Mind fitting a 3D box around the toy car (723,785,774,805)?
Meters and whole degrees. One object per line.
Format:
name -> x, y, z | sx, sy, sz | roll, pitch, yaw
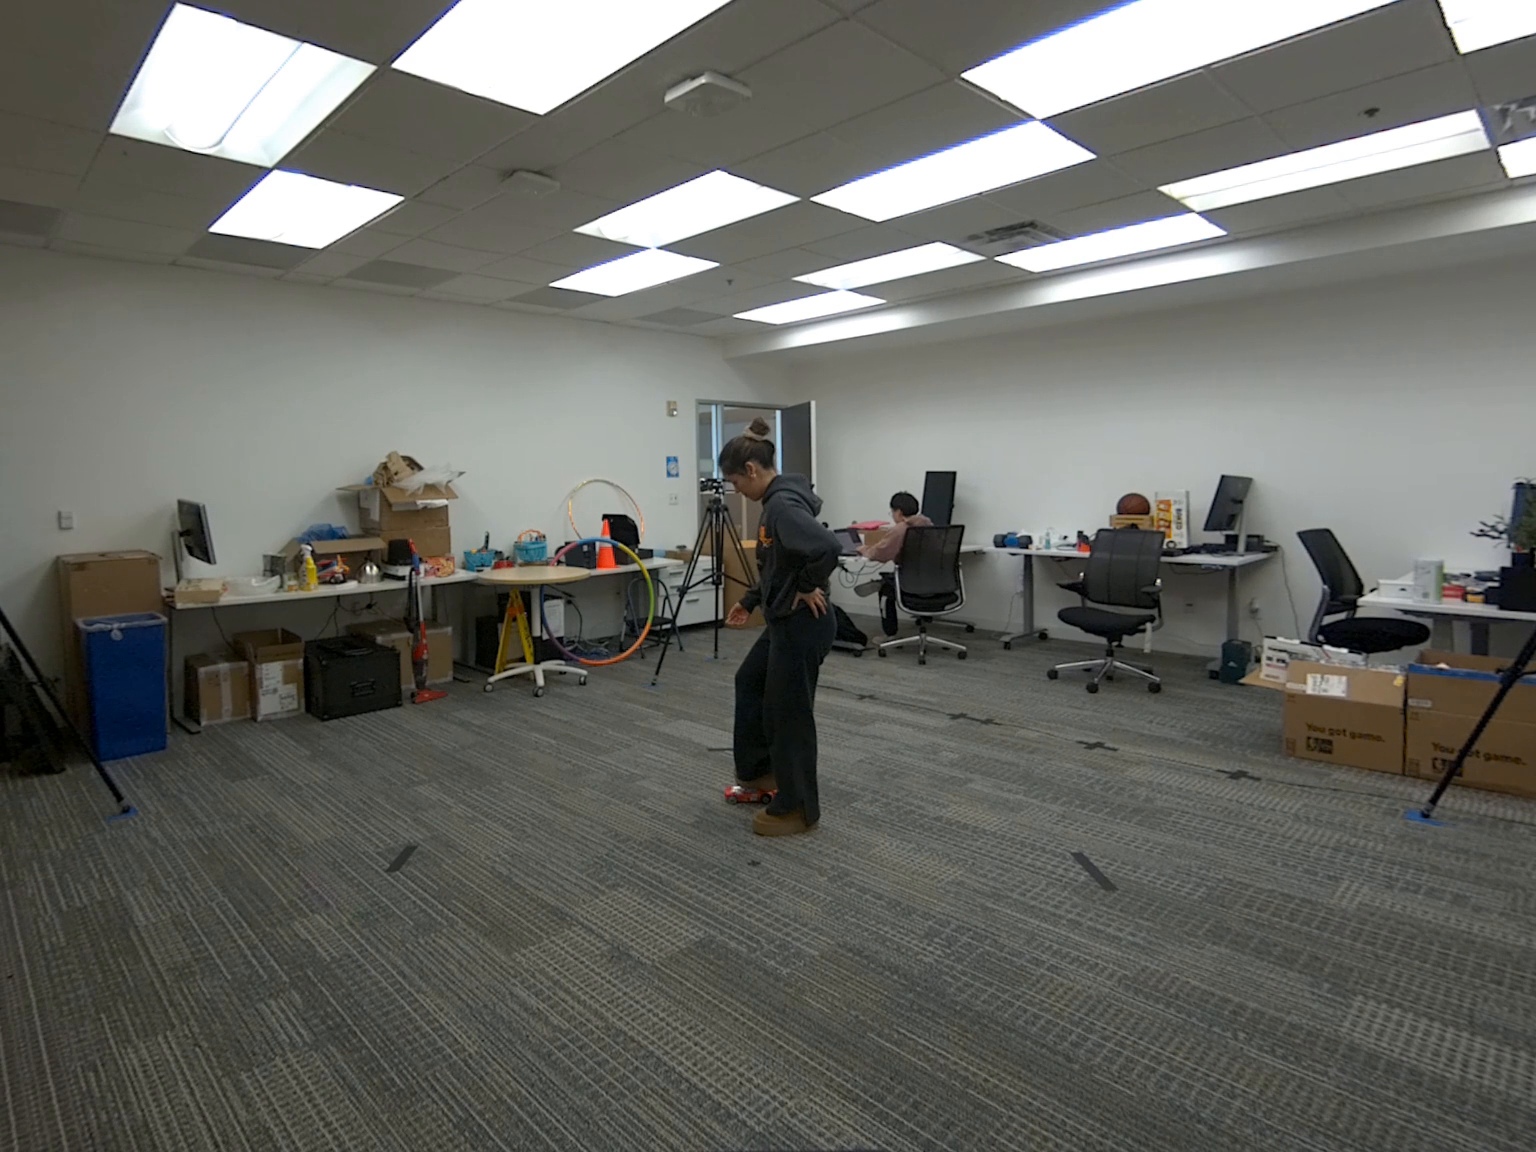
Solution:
toy car -> -0.054, 0.954, 3.711 | 0.255, 0.083, 0.131 | -12, 5, 1
